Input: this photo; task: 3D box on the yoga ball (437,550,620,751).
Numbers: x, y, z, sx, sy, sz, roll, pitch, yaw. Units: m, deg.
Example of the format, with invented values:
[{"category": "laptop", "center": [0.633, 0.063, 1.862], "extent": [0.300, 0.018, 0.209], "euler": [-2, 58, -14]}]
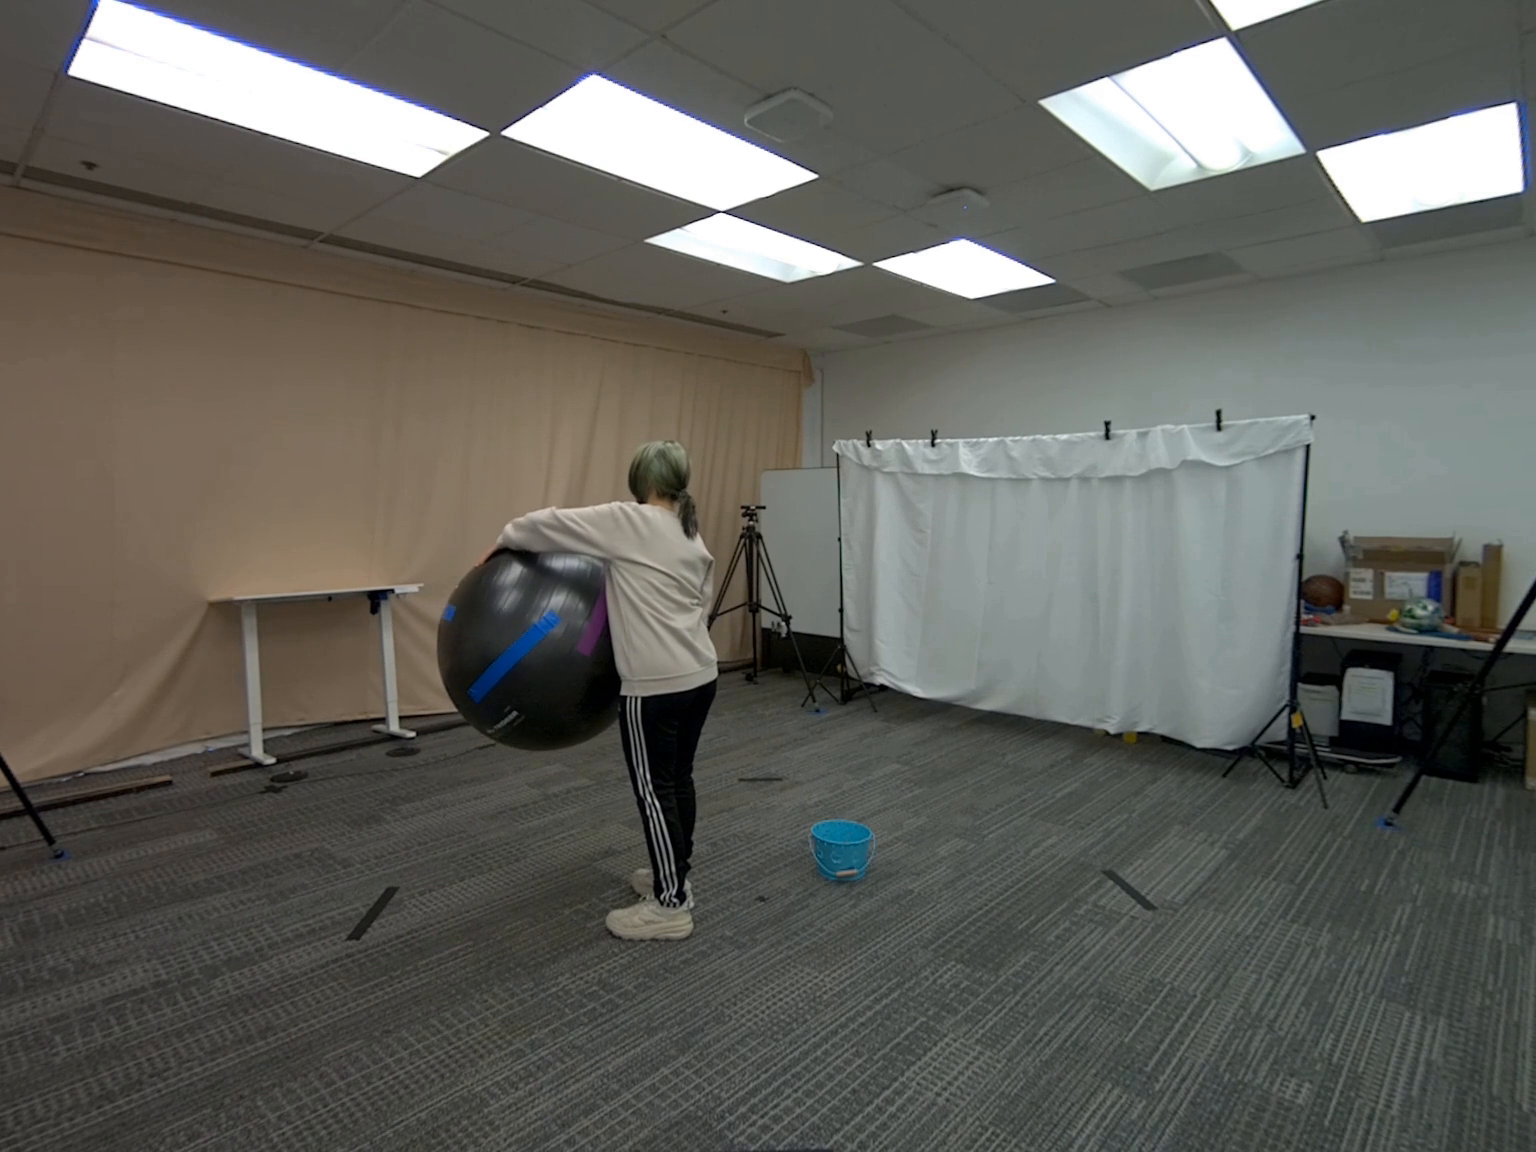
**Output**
[{"category": "yoga ball", "center": [-0.815, 0.246, 3.055], "extent": [0.757, 0.756, 0.761], "euler": [0, 4, -2]}]
